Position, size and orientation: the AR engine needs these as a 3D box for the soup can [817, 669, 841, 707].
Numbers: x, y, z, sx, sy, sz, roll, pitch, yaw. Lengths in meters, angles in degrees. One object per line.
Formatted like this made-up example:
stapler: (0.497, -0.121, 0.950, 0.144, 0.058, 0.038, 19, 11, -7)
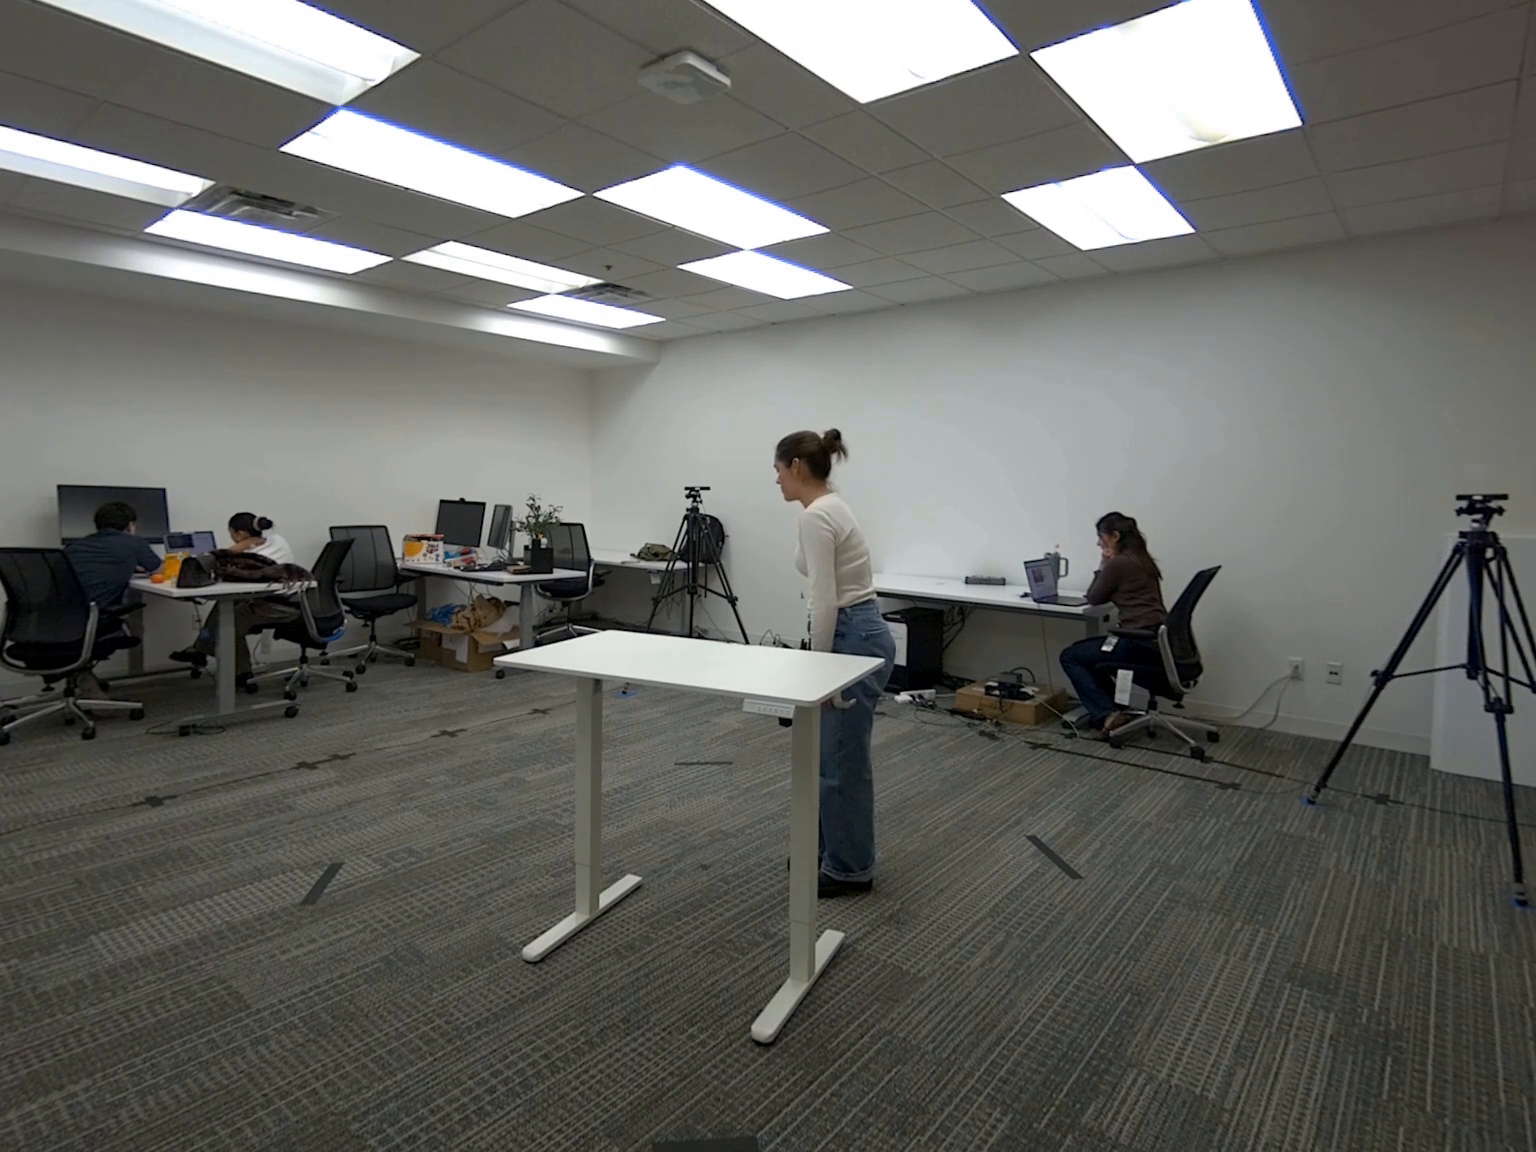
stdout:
soup can: (0.233, 0.428, 3.231, 0.067, 0.121, 0.067, -7, 1, -2)
